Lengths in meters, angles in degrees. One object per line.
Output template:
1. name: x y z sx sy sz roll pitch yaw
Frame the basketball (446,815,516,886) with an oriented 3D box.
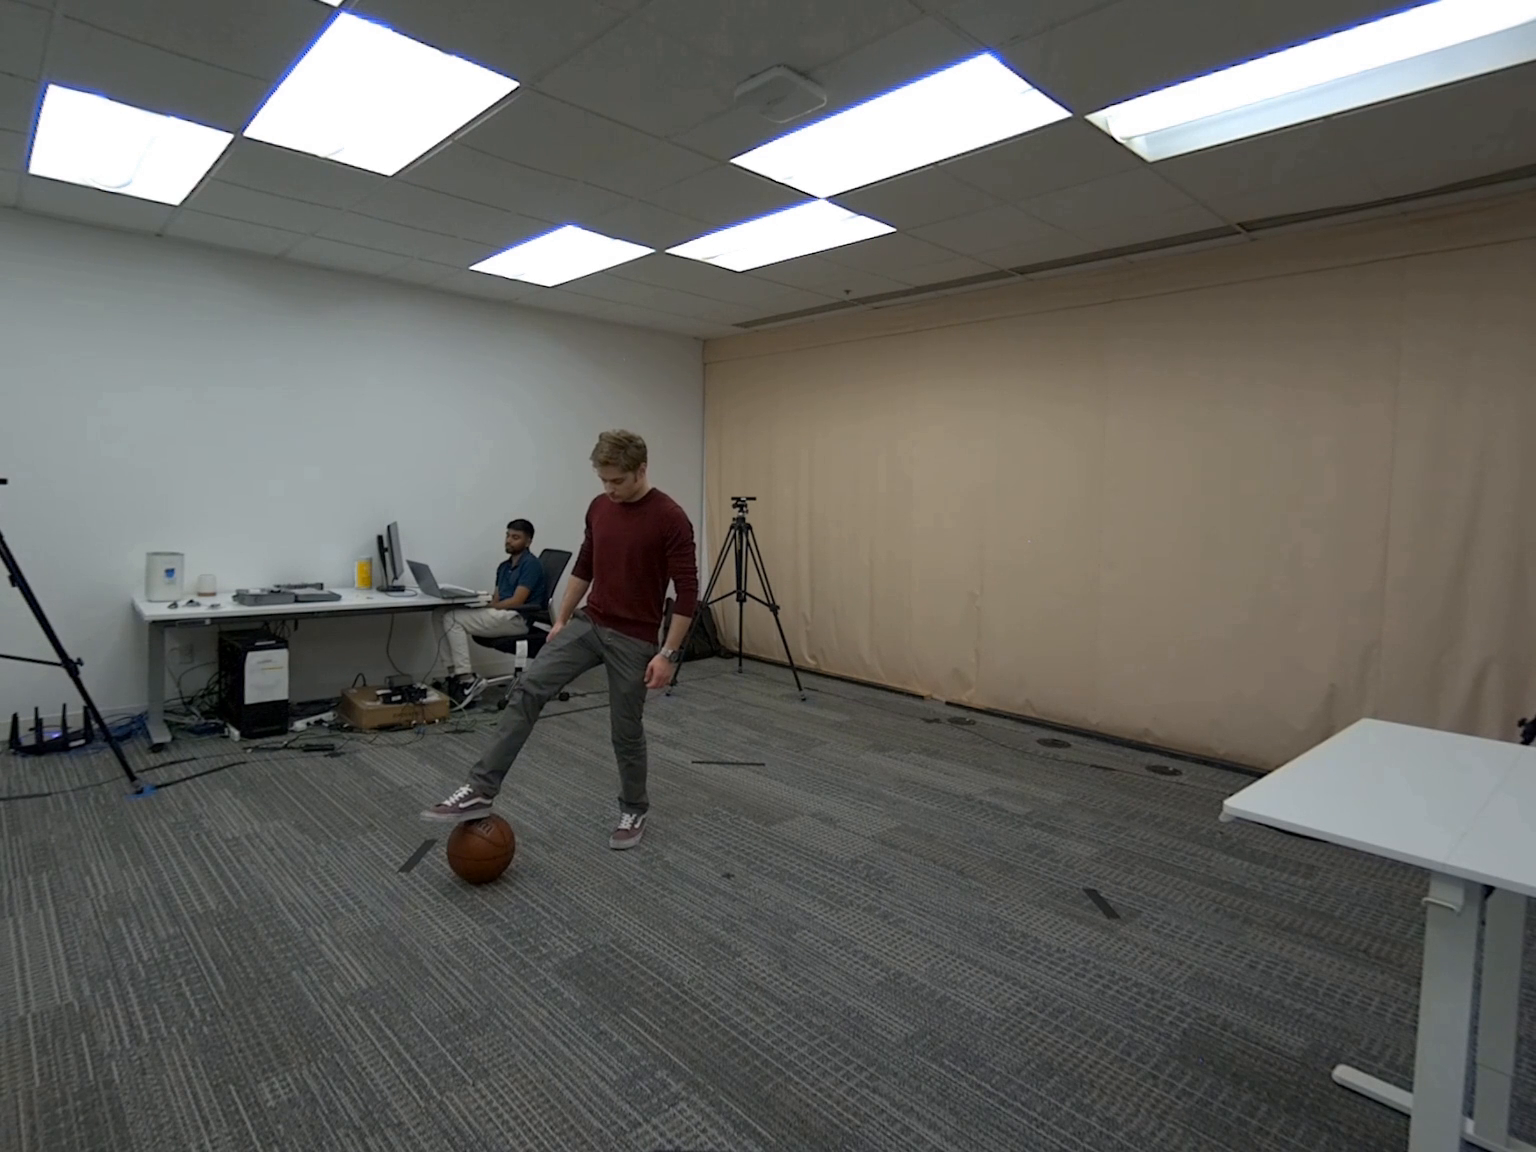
1. basketball: -1.041 0.980 3.029 0.236 0.235 0.237 1 4 -1
